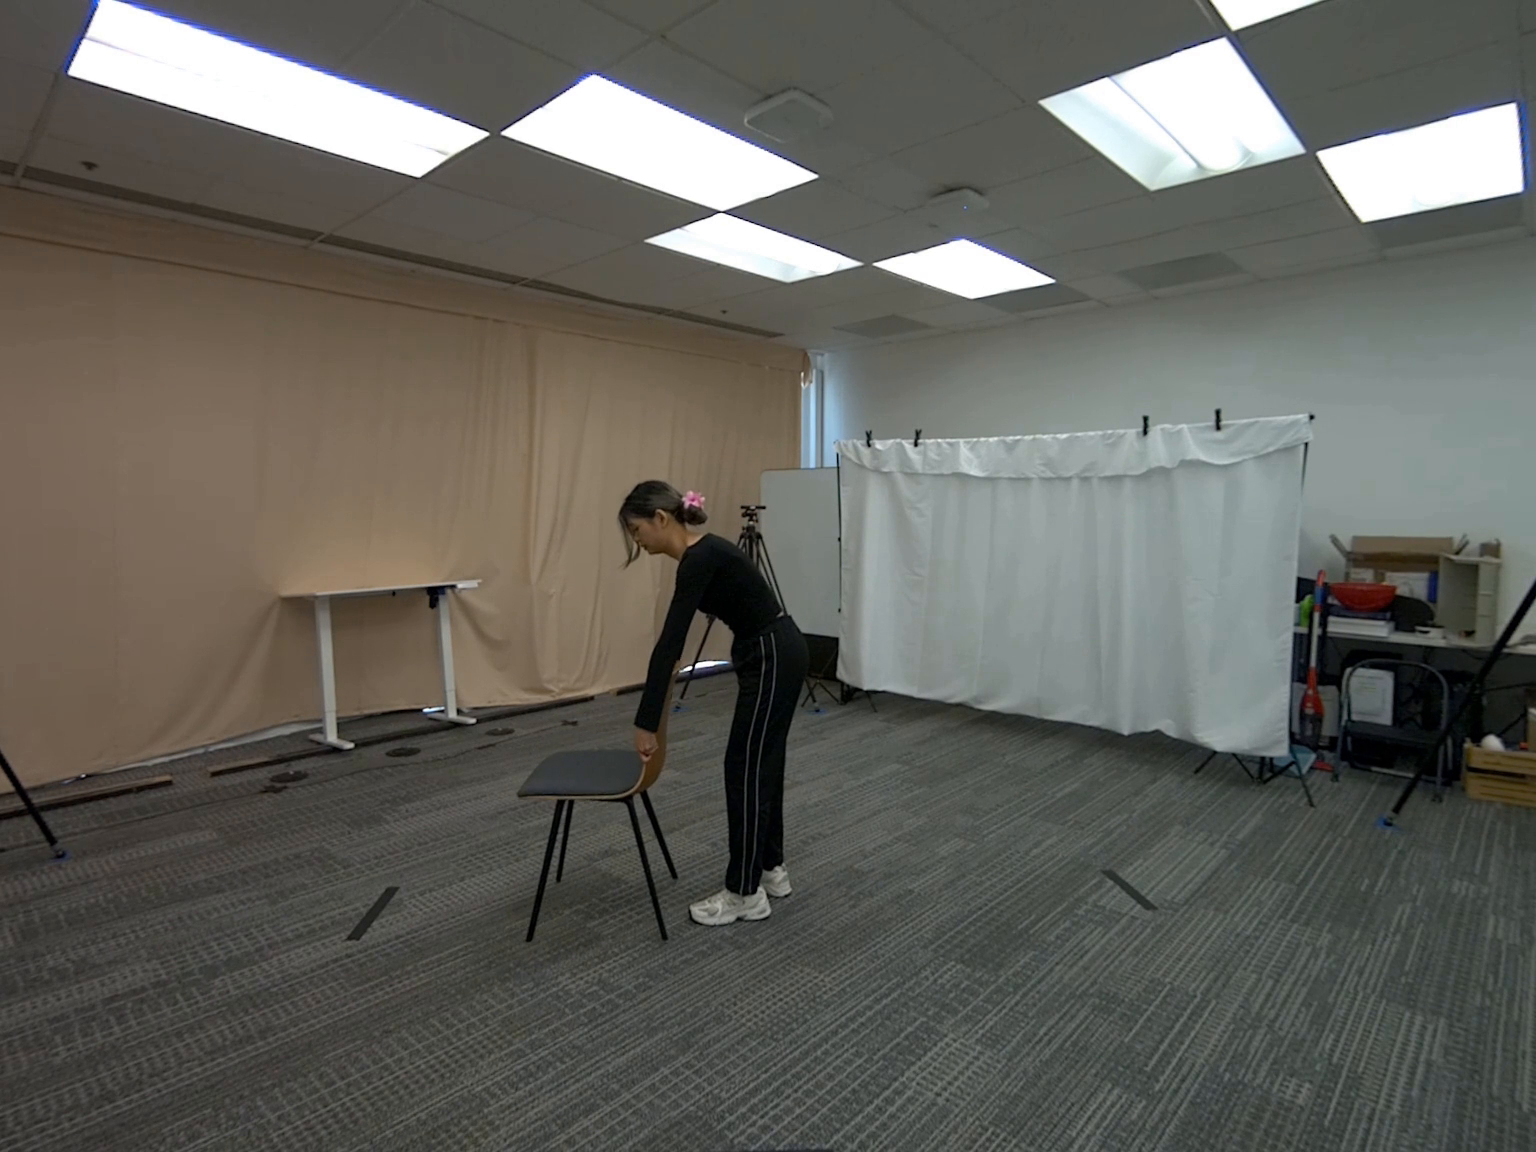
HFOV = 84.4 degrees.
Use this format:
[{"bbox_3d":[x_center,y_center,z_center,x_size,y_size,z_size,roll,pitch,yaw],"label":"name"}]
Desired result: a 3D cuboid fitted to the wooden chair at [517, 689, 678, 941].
[{"bbox_3d":[-0.574,0.720,2.887,0.523,0.875,0.479,3,4,0],"label":"wooden chair"}]
